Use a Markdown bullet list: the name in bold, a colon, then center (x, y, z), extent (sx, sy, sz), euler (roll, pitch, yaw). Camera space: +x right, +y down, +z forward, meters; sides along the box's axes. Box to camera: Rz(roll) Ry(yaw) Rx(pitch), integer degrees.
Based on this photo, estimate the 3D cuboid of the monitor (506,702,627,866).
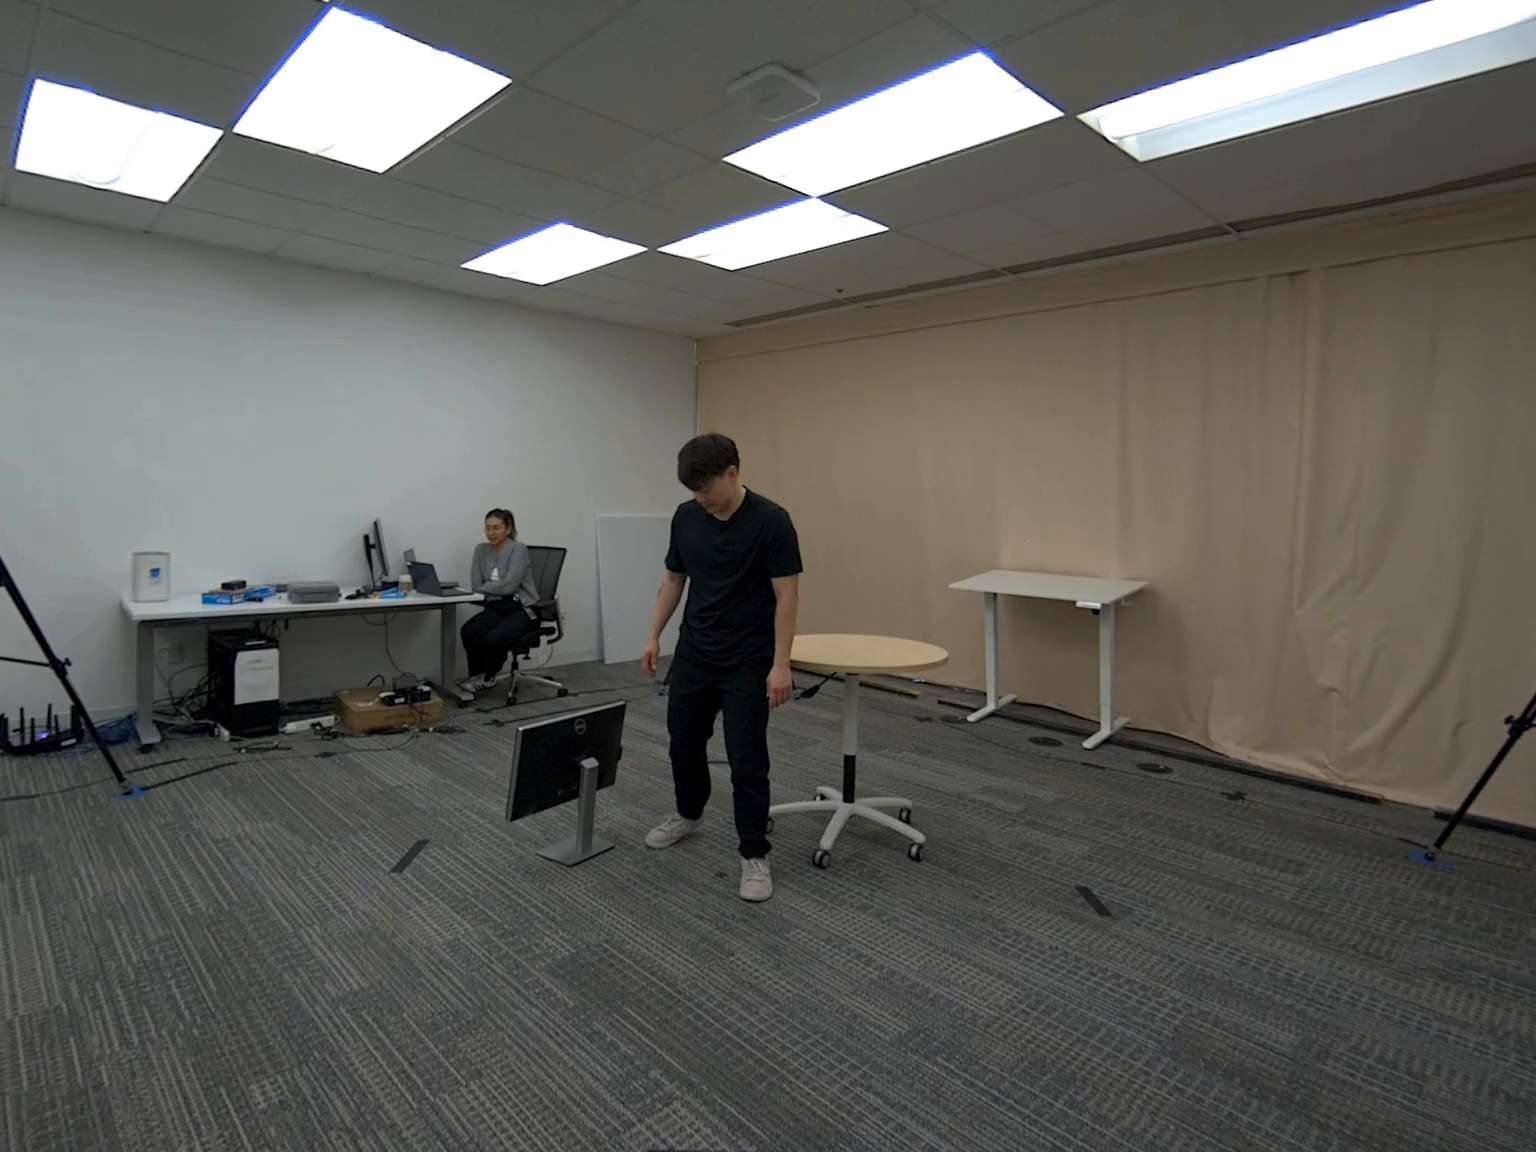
- **monitor**: center (-0.752, 0.811, 3.275), extent (0.191, 0.522, 0.528), euler (1, 3, 33)
